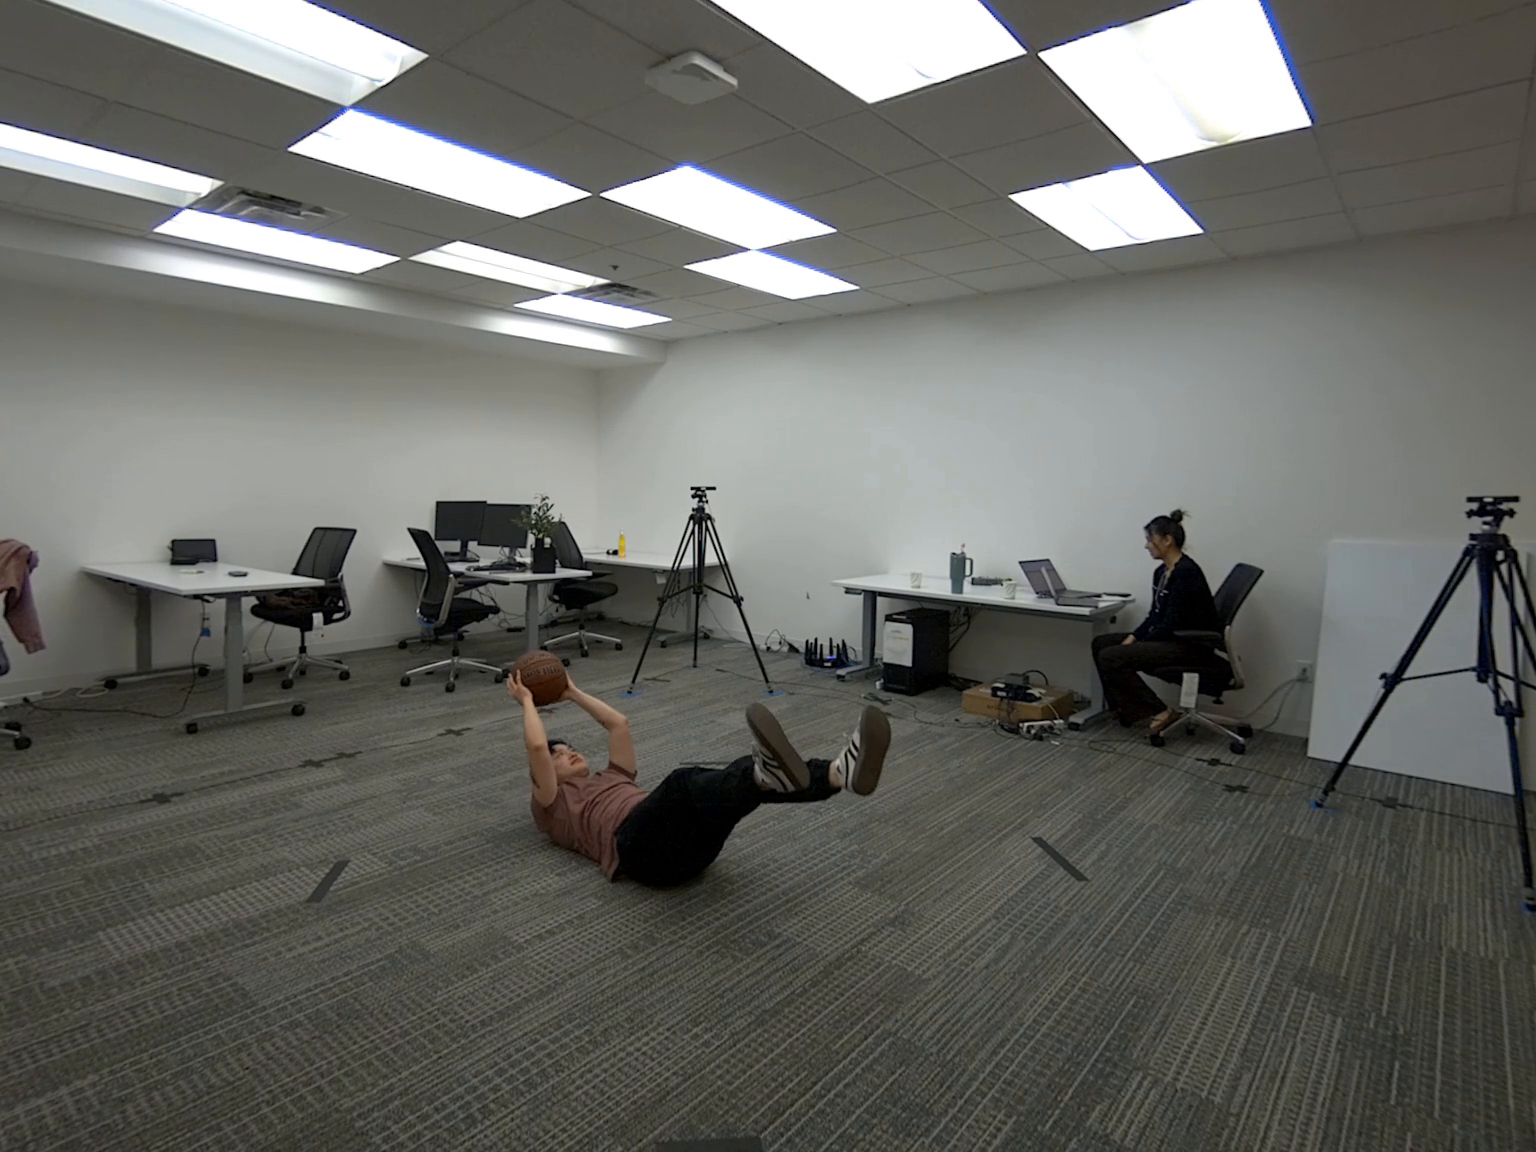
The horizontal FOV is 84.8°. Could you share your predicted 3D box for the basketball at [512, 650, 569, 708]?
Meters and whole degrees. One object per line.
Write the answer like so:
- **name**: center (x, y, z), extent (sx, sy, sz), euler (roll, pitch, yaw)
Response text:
- **basketball**: center (-0.980, 0.434, 3.586), extent (0.235, 0.235, 0.237), euler (1, 5, -2)
